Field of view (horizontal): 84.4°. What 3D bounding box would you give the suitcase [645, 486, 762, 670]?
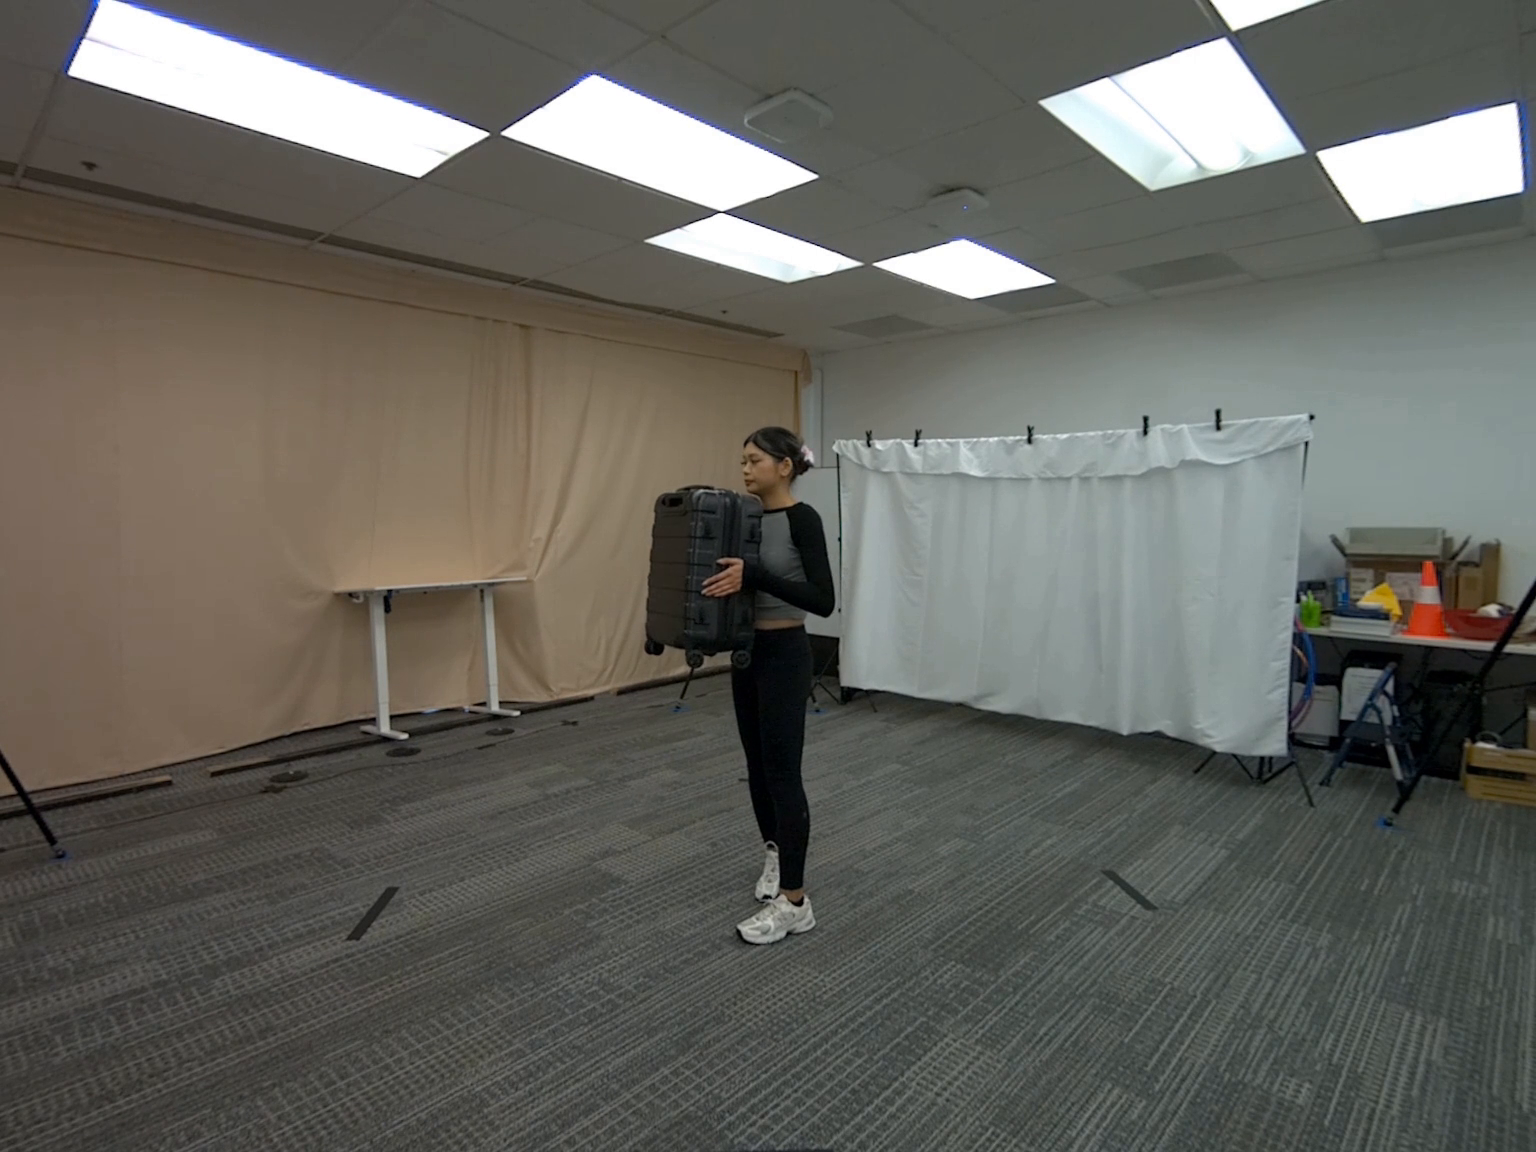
[{"bbox_3d":[-0.207,-0.006,2.682,0.241,0.550,0.386,4,-1,-31],"label":"suitcase"}]
